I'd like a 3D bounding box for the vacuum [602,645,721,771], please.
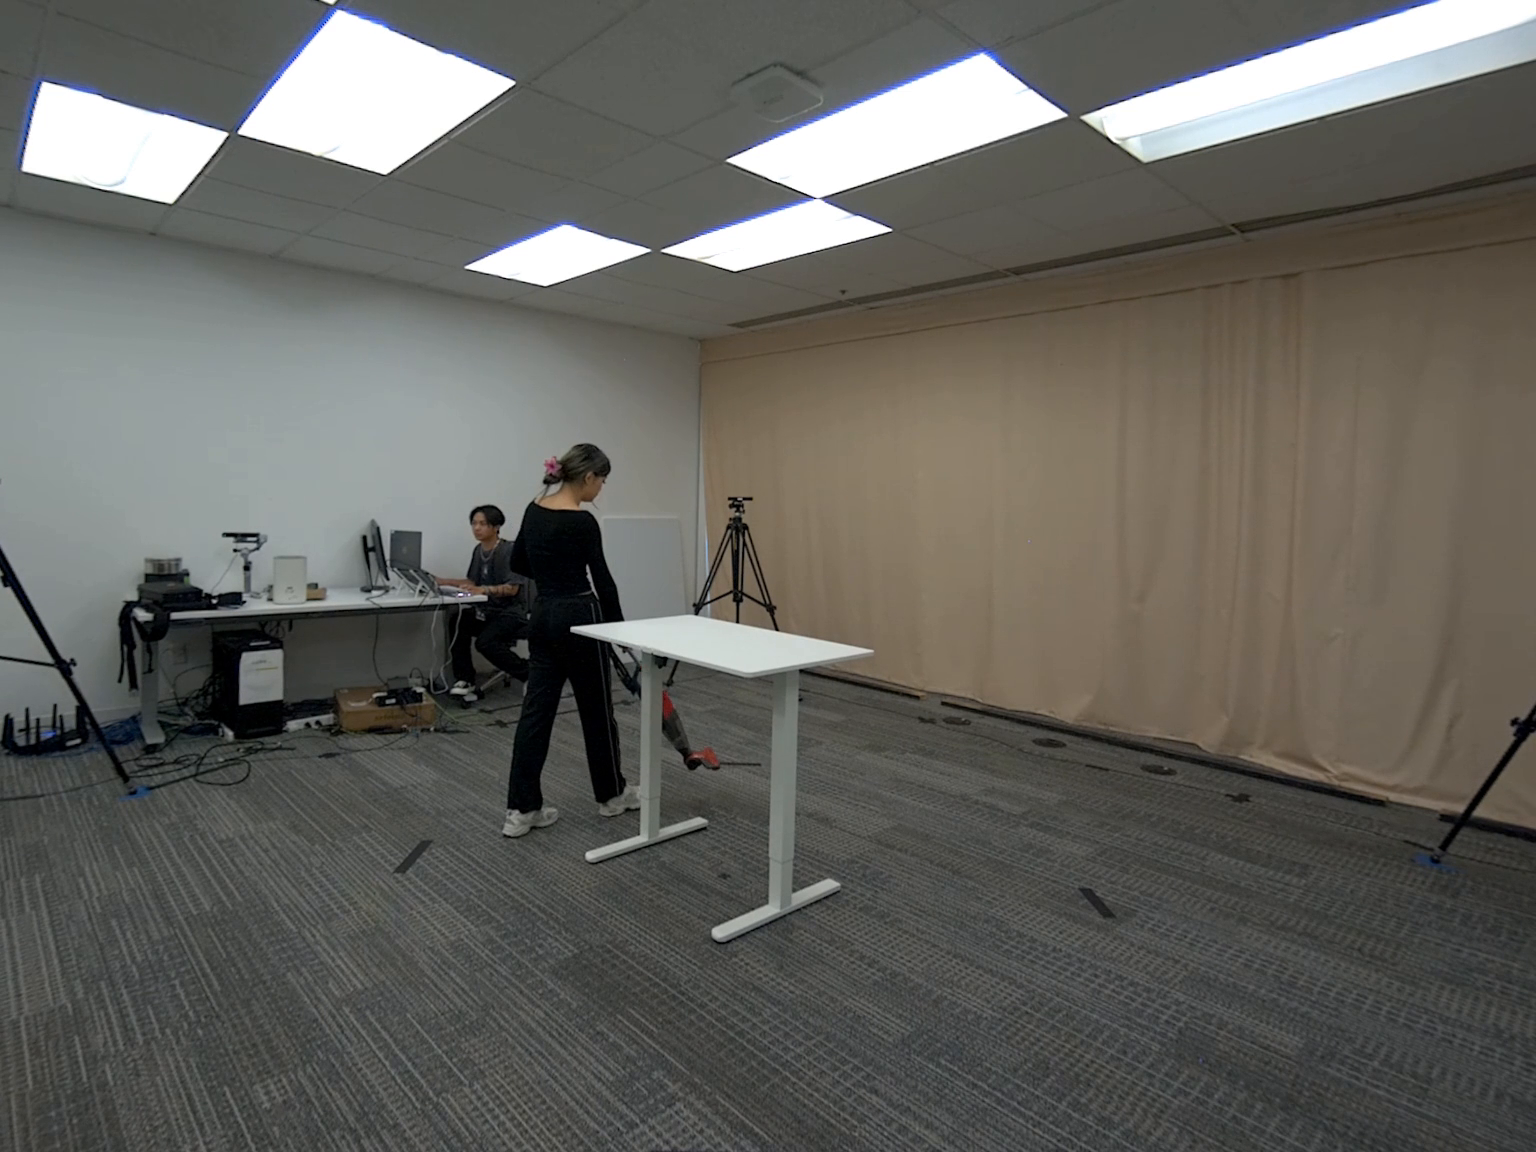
[{"bbox_3d":[-0.600,0.445,3.763,0.144,1.039,0.255,-38,9,-11],"label":"vacuum"}]
